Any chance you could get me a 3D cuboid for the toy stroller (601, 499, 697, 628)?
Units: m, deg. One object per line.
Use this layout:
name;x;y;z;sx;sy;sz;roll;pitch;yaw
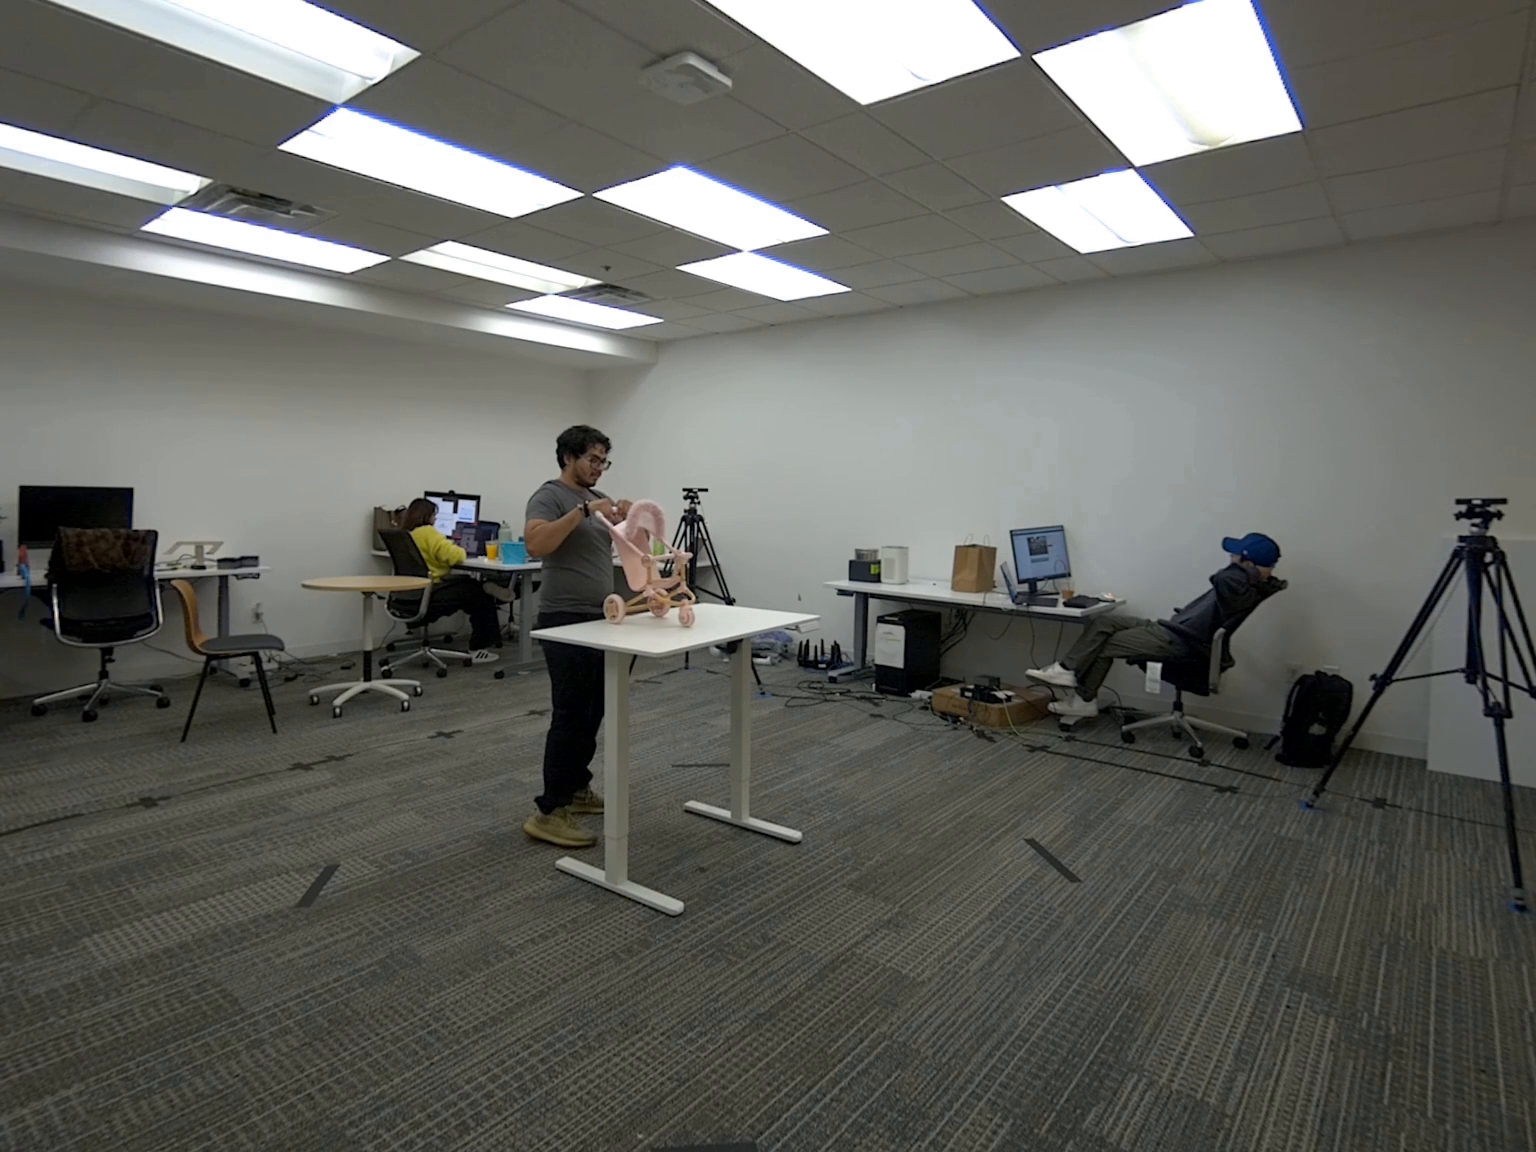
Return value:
toy stroller;-0.458;-0.052;3.221;0.349;0.539;0.273;-16;-8;40
